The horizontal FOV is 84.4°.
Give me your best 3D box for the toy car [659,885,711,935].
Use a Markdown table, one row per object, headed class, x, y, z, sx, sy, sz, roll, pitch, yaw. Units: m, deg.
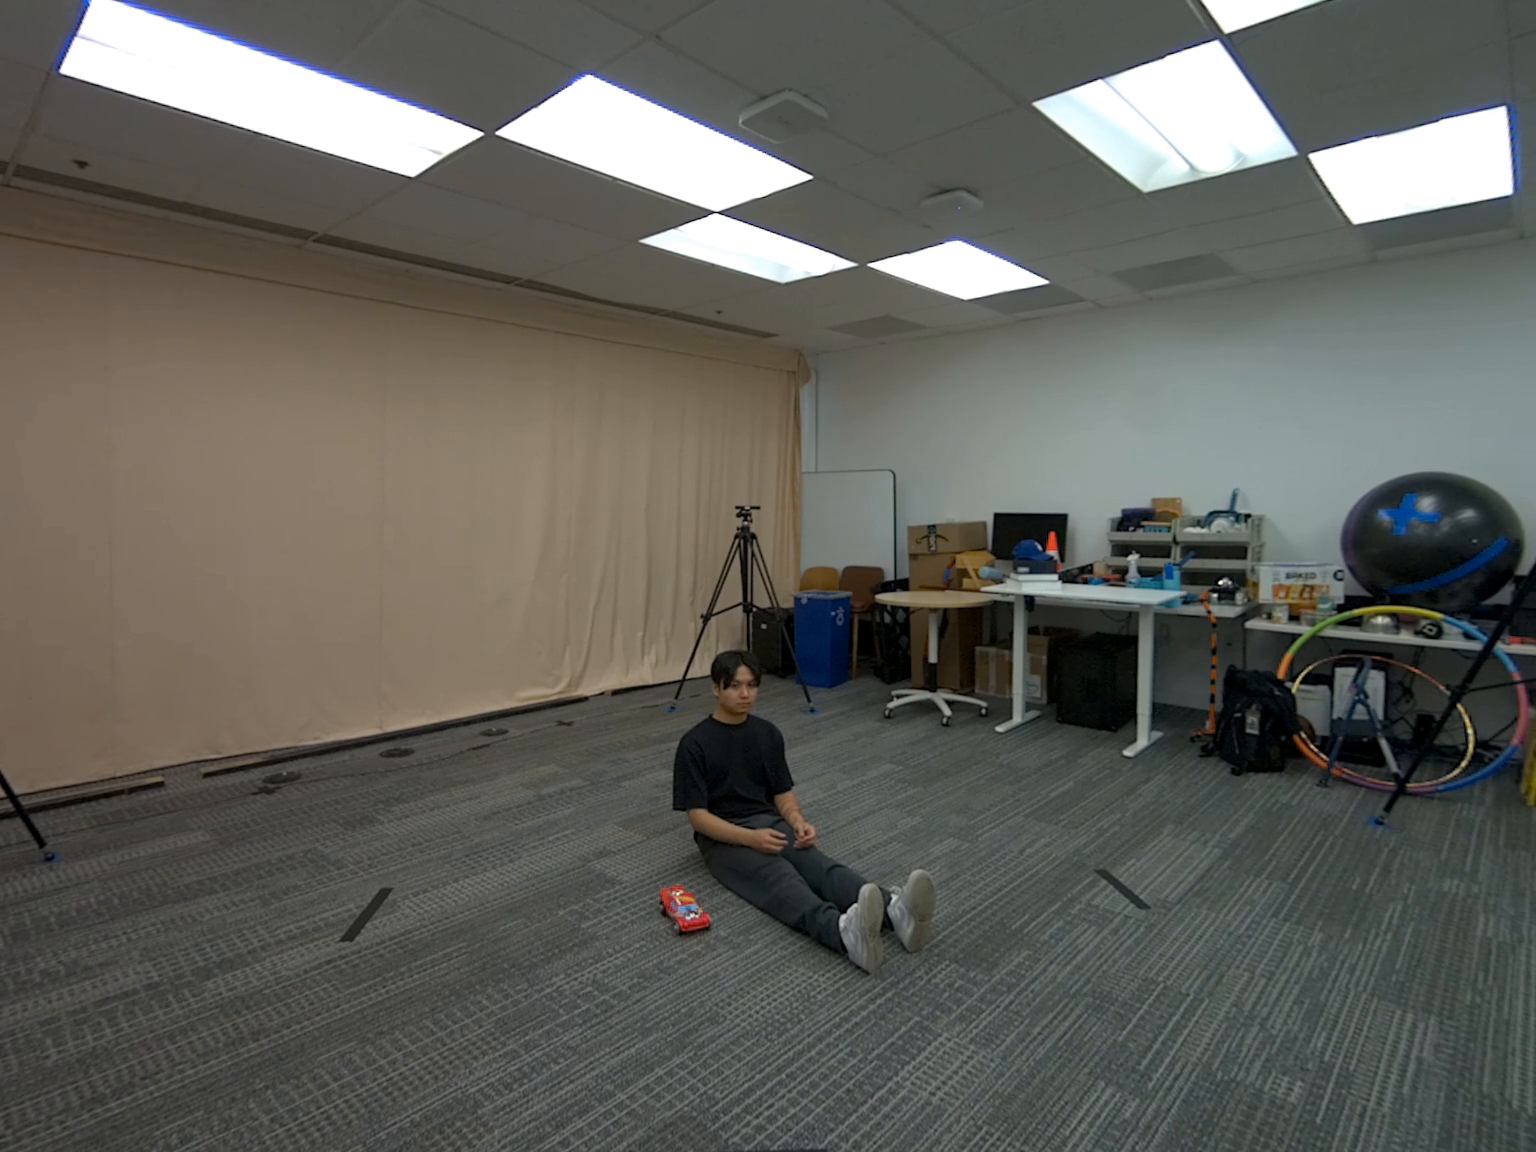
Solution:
| class | x | y | z | sx | sy | sz | roll | pitch | yaw |
| --- | --- | --- | --- | --- | --- | --- | --- | --- | --- |
| toy car | -0.286 | 1.119 | 2.843 | 0.127 | 0.082 | 0.262 | -3 | 16 | -24 |
